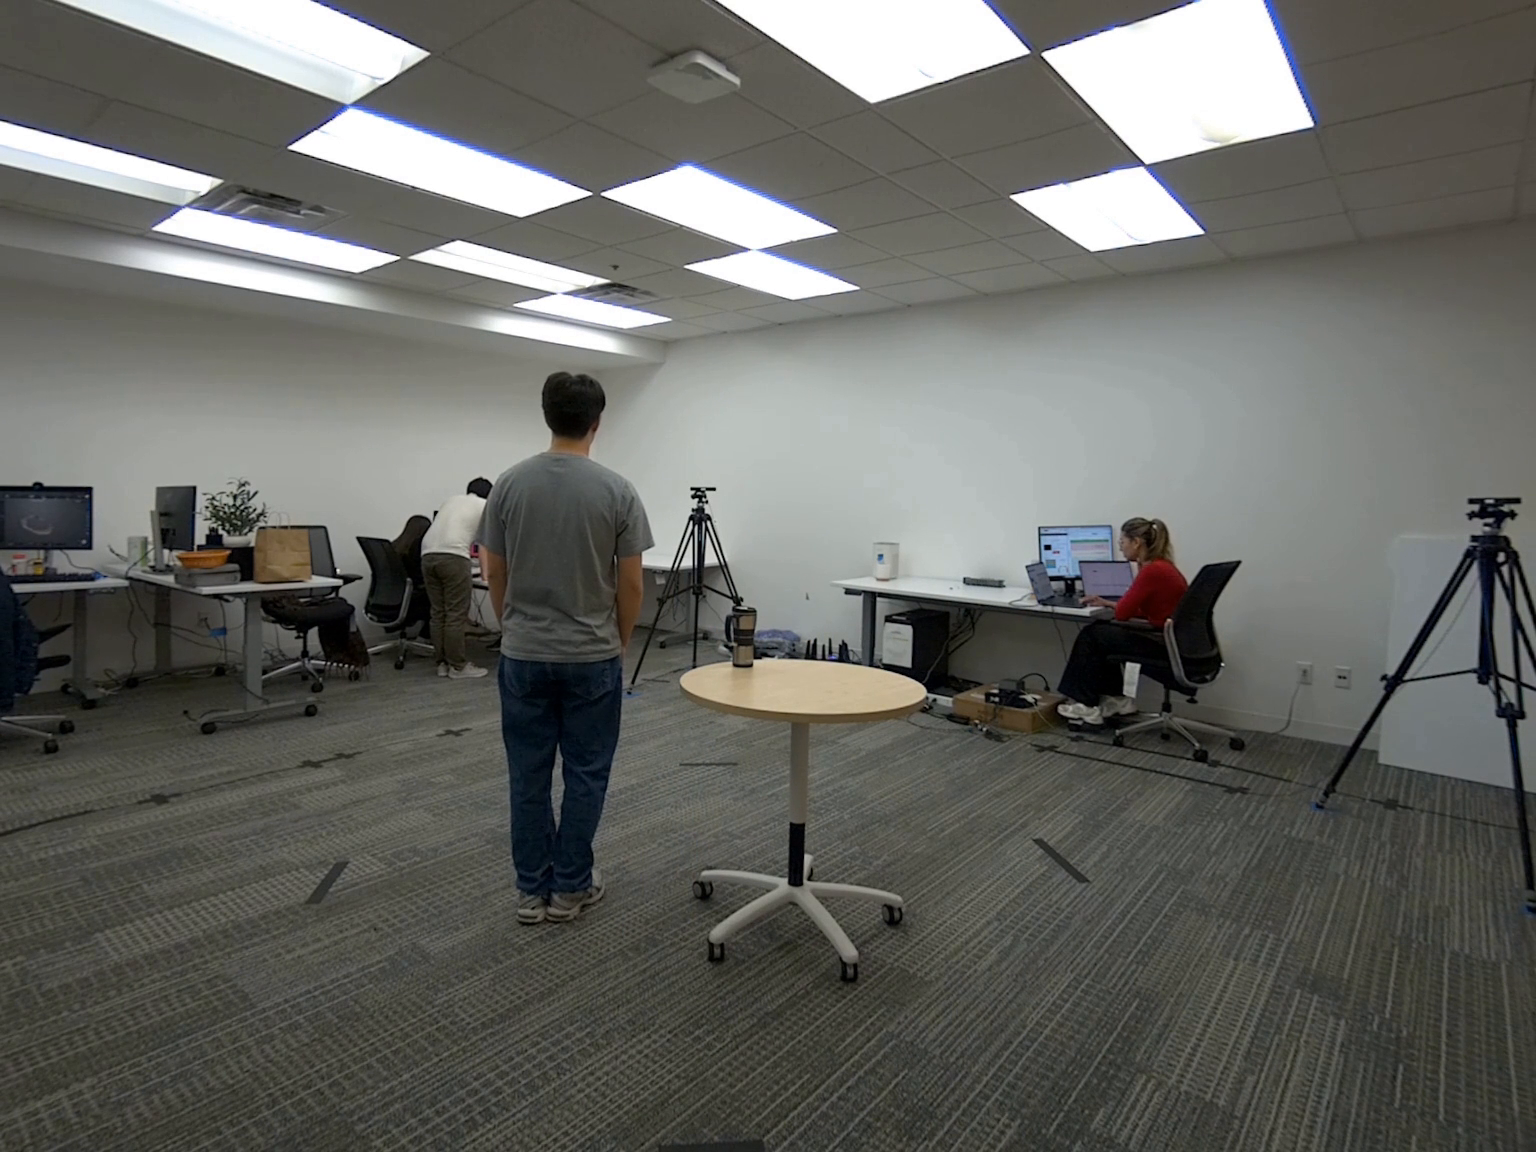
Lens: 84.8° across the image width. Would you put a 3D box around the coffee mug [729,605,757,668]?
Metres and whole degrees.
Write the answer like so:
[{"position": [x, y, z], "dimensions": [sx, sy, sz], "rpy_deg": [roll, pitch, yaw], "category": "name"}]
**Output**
[{"position": [-0.113, 0.210, 2.894], "dimensions": [0.118, 0.202, 0.091], "rpy_deg": [2, 6, -31], "category": "coffee mug"}]
